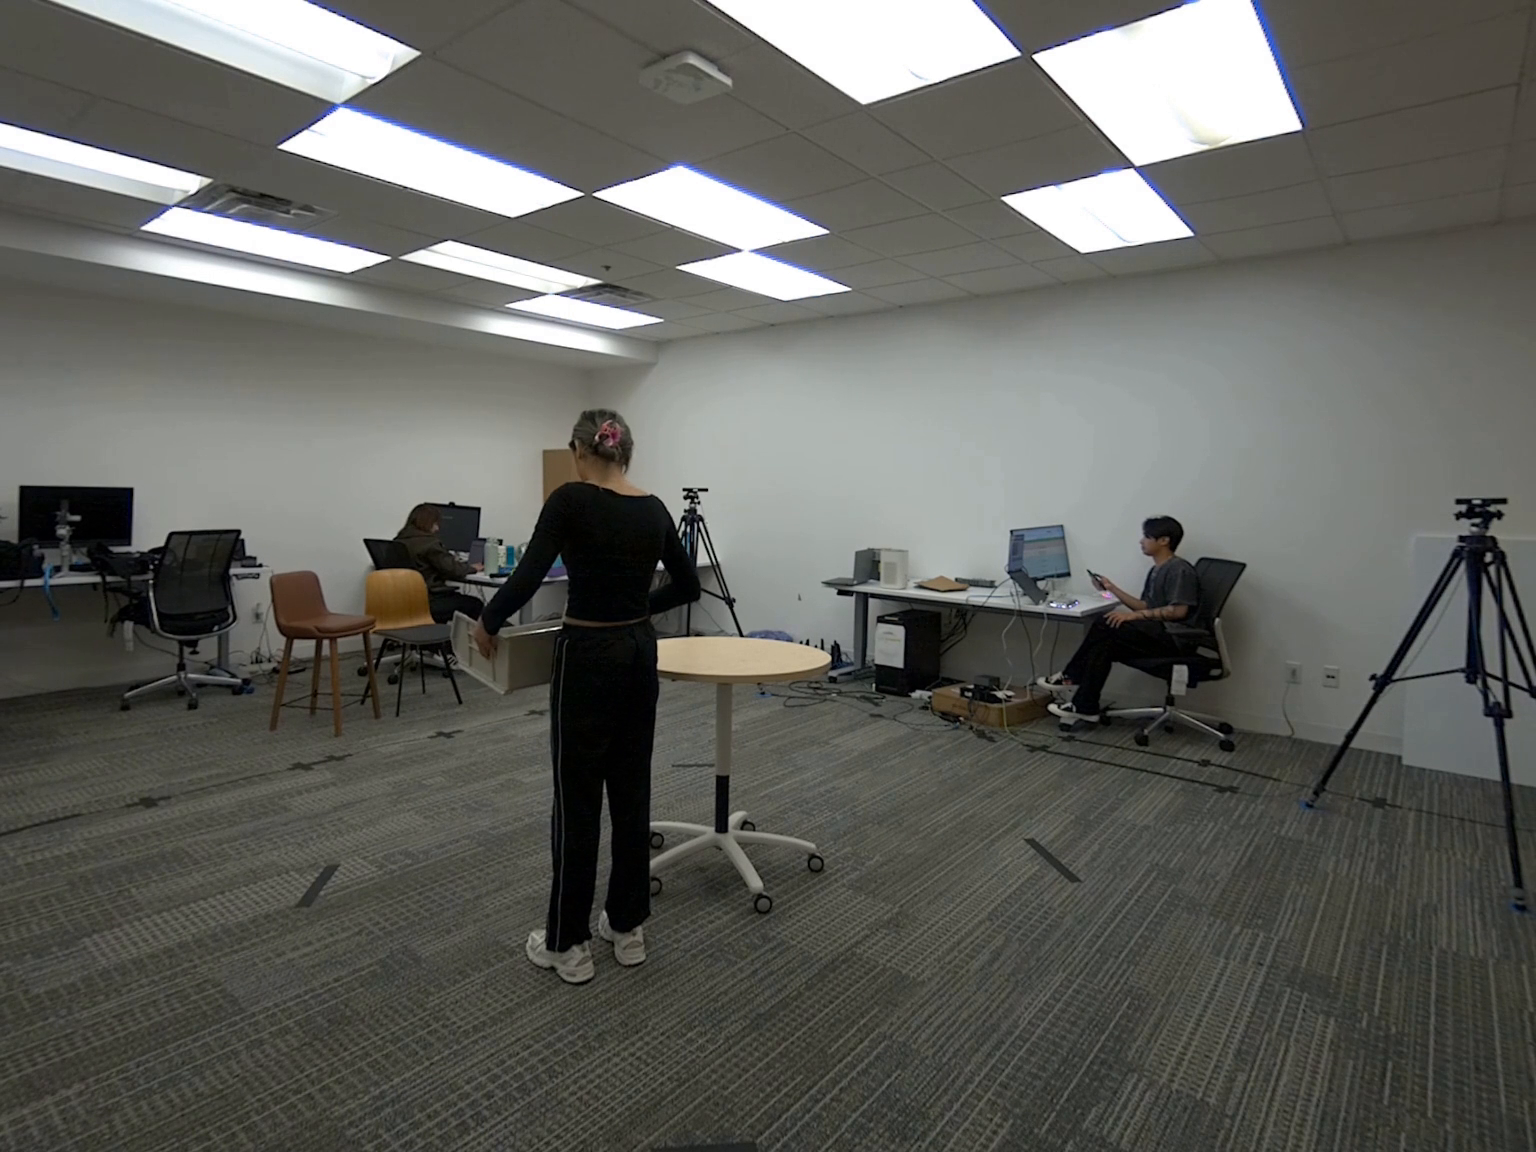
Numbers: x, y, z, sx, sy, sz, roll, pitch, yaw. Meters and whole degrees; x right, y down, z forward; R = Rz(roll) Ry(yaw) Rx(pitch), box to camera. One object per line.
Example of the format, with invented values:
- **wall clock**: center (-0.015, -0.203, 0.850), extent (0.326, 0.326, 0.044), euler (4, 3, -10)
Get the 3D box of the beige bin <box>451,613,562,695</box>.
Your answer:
- **beige bin**: center (-0.750, 0.202, 2.714), extent (0.410, 0.187, 0.392), euler (-6, 15, -42)
